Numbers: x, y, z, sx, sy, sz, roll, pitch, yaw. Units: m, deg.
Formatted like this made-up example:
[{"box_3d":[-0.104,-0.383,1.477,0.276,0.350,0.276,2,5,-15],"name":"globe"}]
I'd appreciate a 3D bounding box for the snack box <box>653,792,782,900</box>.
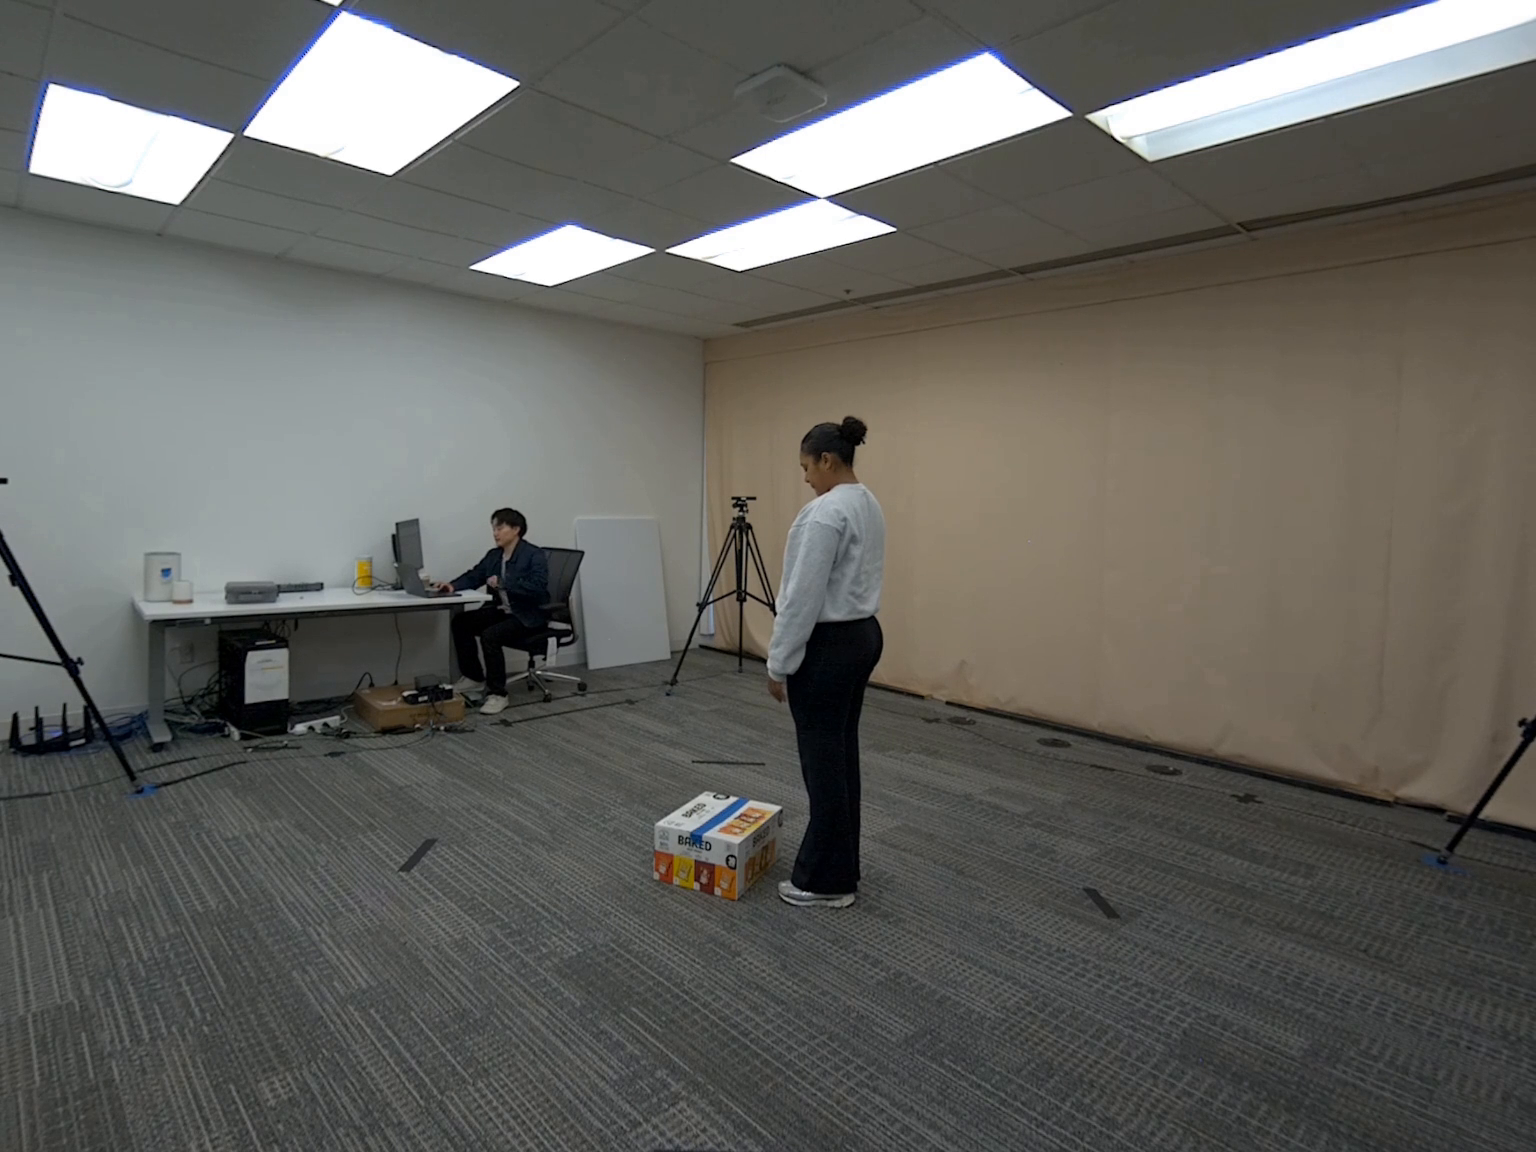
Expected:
[{"box_3d":[-0.188,0.999,3.160,0.347,0.205,0.398,4,6,25],"name":"snack box"}]
